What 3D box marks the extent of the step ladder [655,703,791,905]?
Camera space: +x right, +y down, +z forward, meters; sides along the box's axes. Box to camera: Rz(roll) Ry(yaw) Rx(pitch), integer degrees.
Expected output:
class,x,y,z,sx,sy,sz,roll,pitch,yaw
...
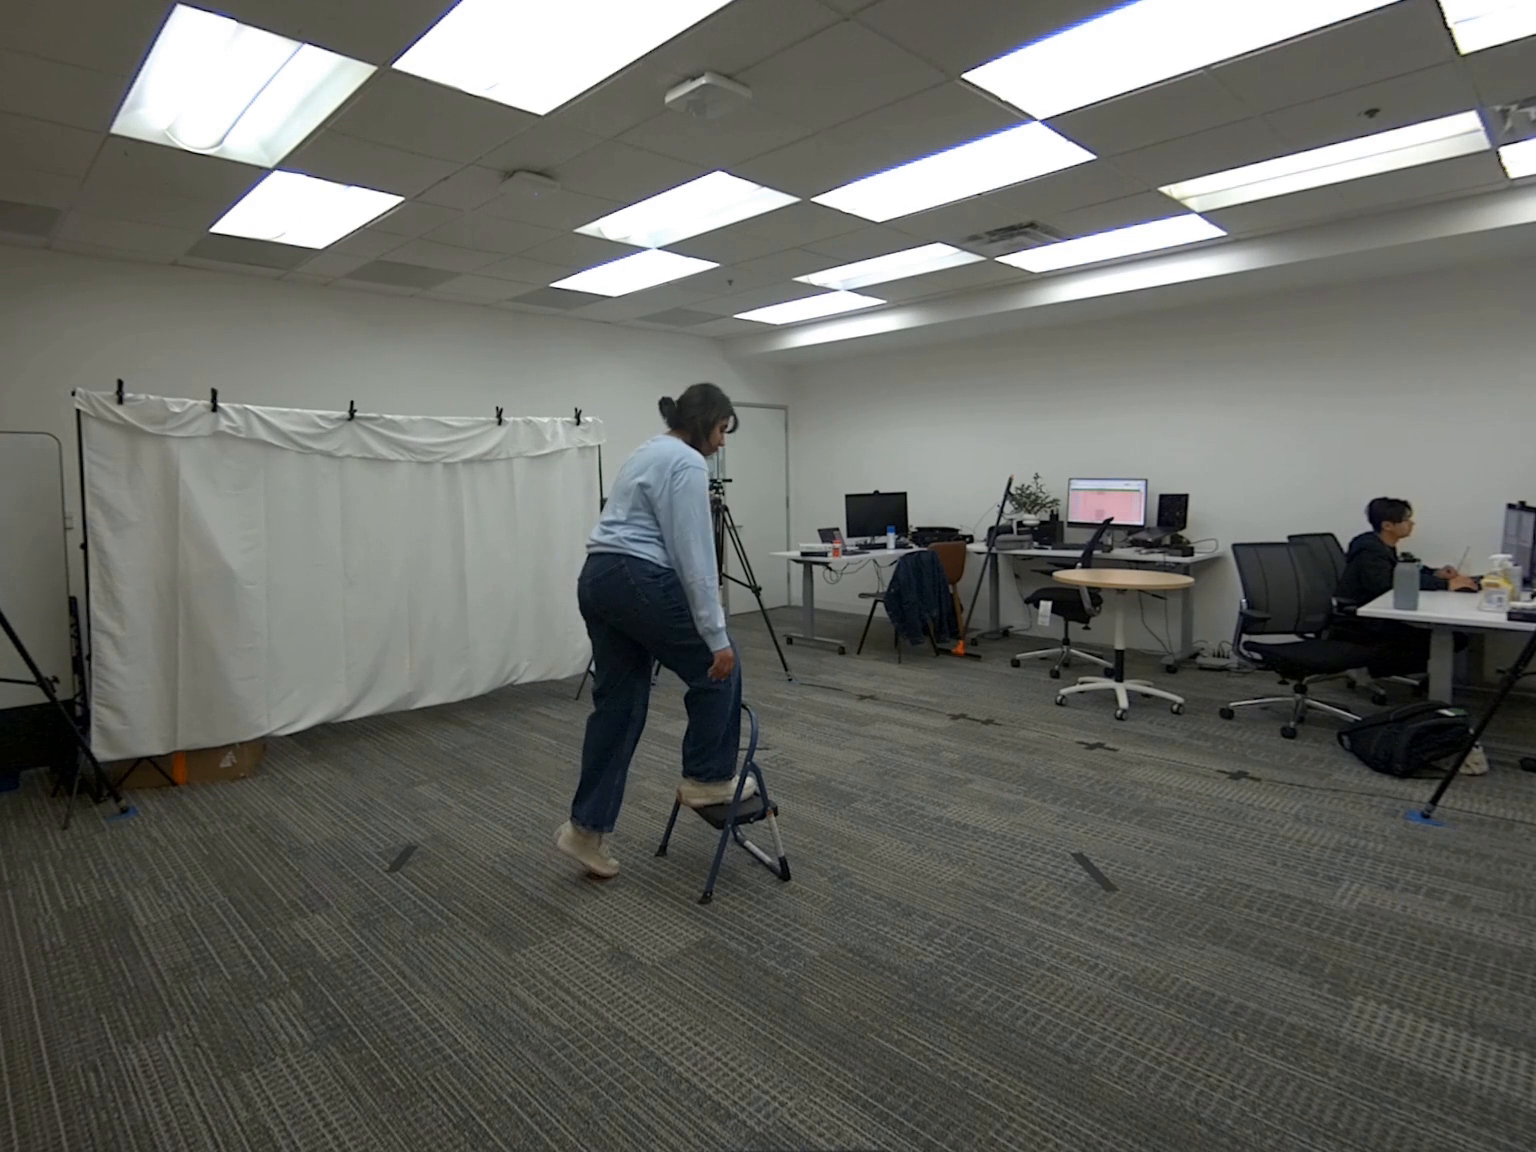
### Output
class,x,y,z,sx,sy,sz,roll,pitch,yaw
step ladder,-0.167,0.752,3.062,0.341,0.604,0.442,-3,5,-28
